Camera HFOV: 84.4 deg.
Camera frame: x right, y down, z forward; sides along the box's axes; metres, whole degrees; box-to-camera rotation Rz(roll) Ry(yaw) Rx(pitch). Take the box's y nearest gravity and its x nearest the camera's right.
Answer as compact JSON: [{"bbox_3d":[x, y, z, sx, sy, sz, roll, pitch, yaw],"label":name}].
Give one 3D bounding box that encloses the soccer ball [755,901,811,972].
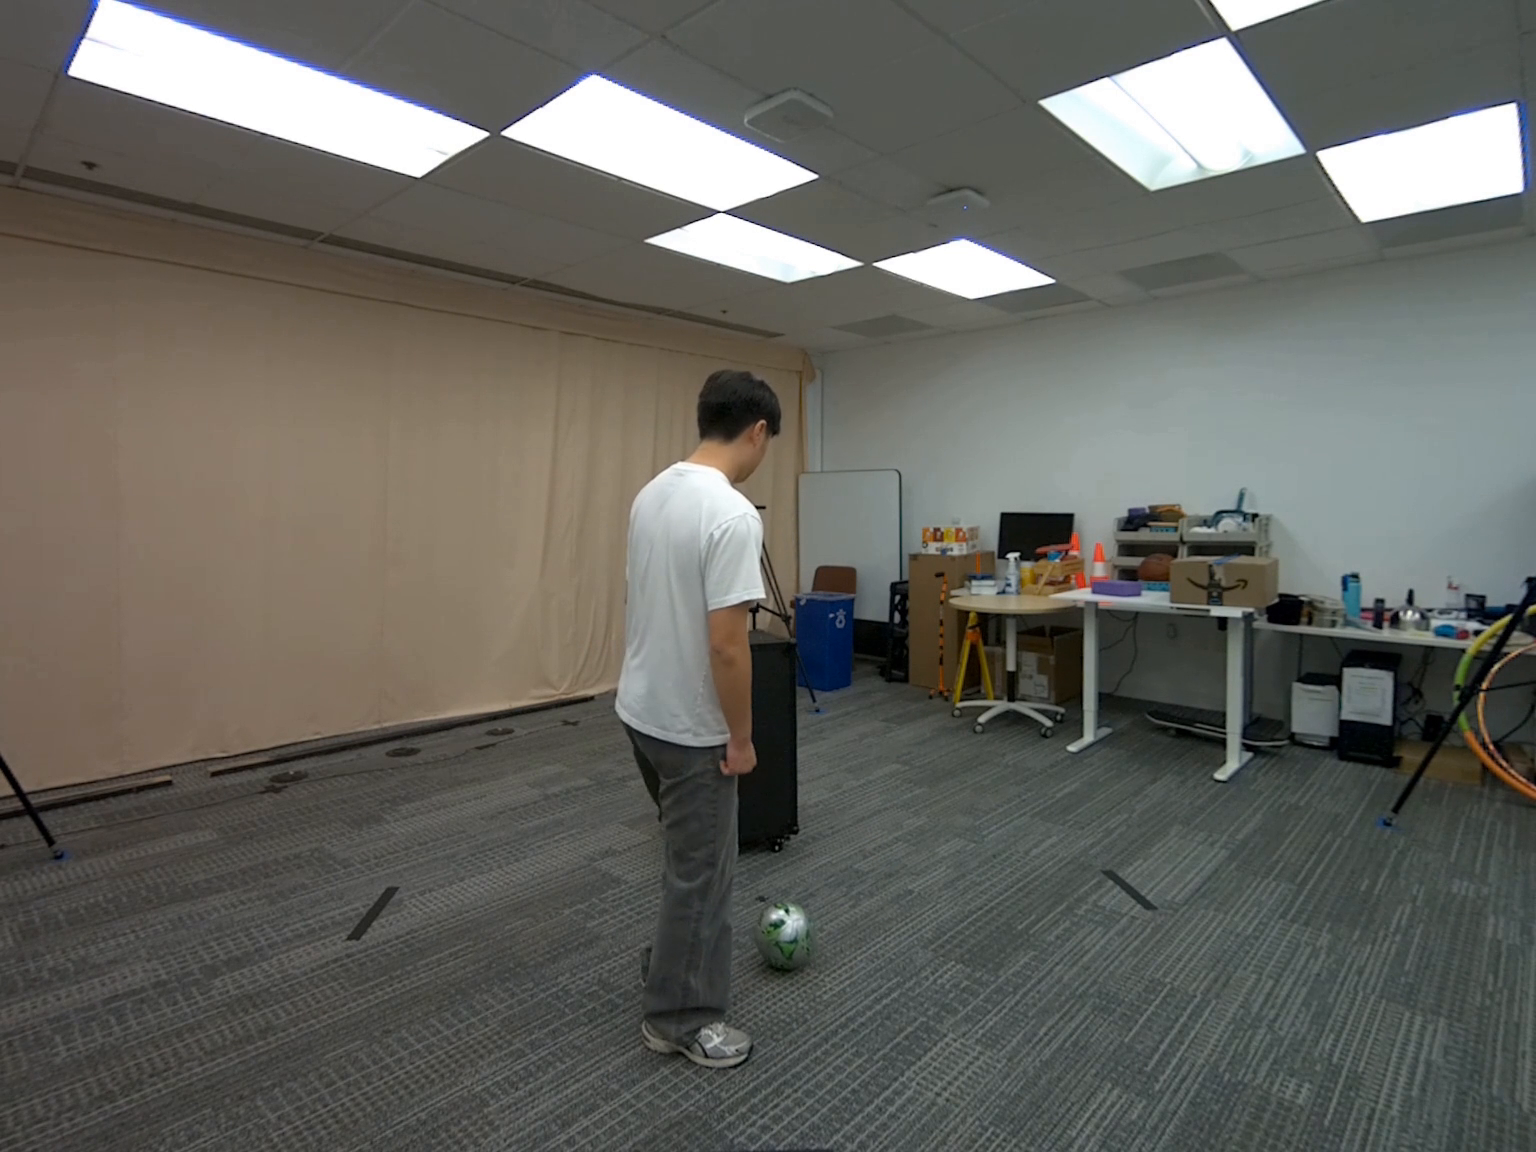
[{"bbox_3d":[0.054,1.081,2.554,0.187,0.187,0.188,0,4,-2],"label":"soccer ball"}]
